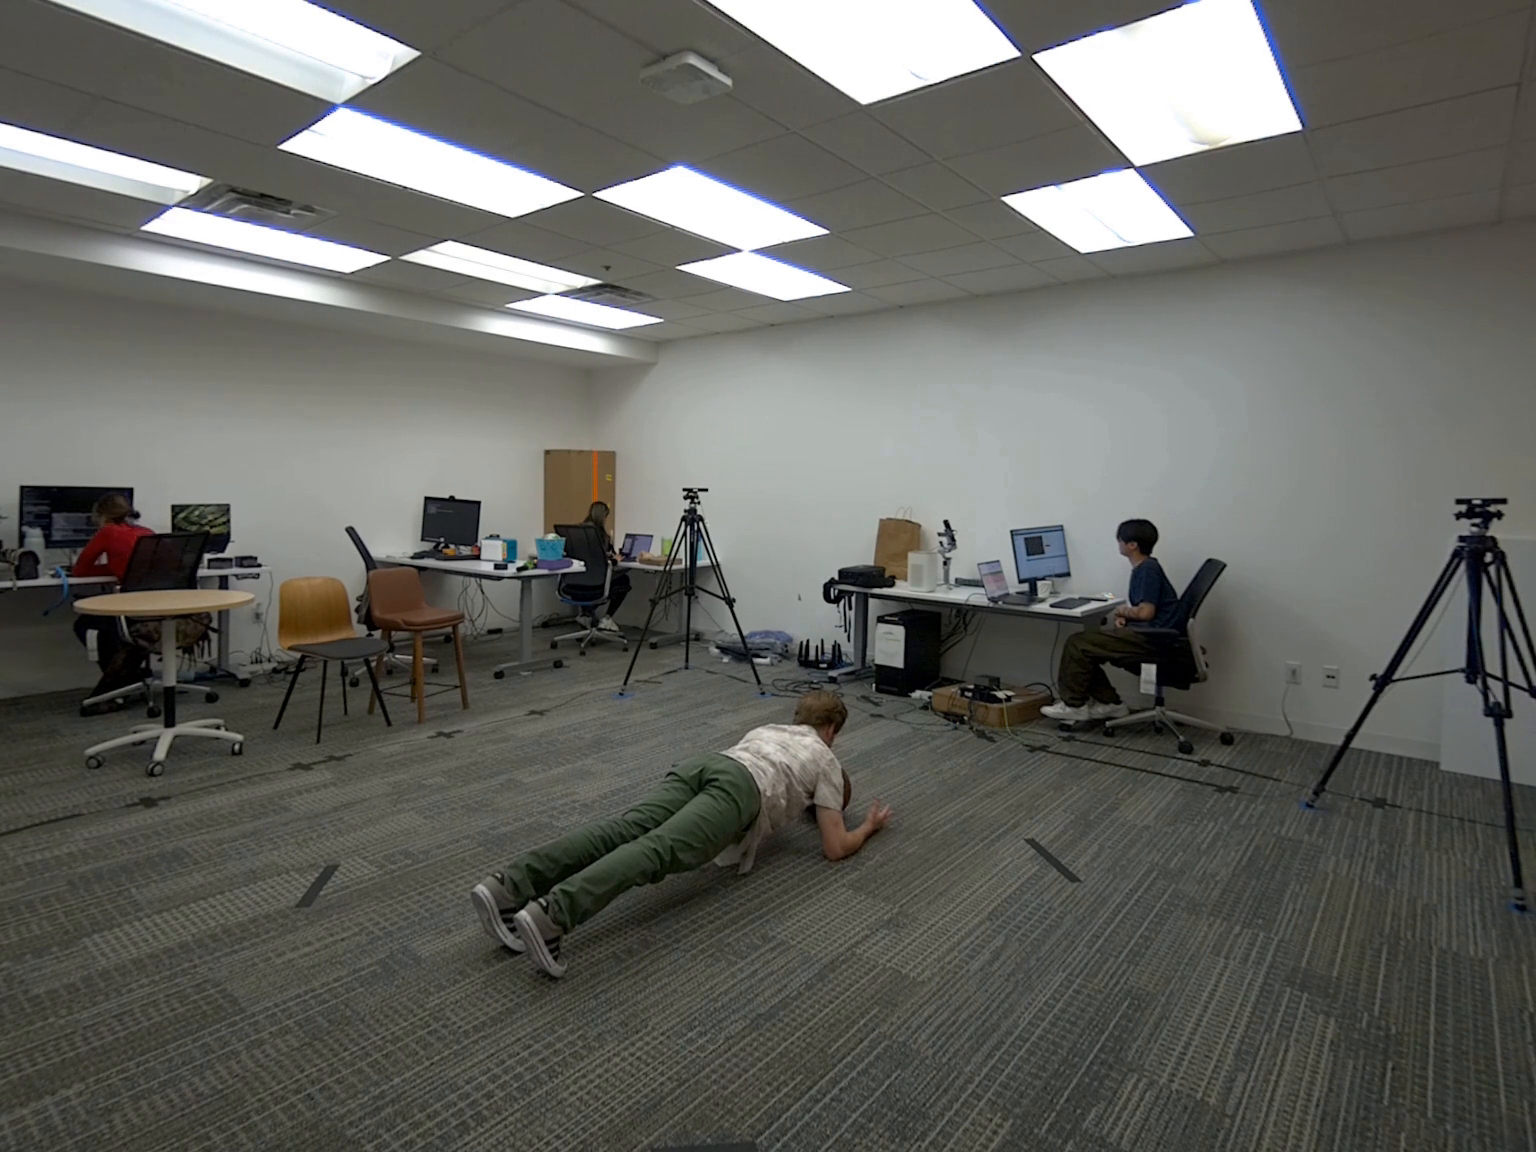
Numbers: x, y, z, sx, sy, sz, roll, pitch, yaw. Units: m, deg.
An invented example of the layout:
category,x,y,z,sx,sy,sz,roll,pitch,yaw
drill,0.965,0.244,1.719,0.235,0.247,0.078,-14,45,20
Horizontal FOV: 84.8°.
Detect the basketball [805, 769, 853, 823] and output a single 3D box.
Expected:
category,x,y,z,sx,sy,sz,roll,pitch,yaw
basketball,0.229,0.909,3.620,0.235,0.235,0.237,1,4,-2
